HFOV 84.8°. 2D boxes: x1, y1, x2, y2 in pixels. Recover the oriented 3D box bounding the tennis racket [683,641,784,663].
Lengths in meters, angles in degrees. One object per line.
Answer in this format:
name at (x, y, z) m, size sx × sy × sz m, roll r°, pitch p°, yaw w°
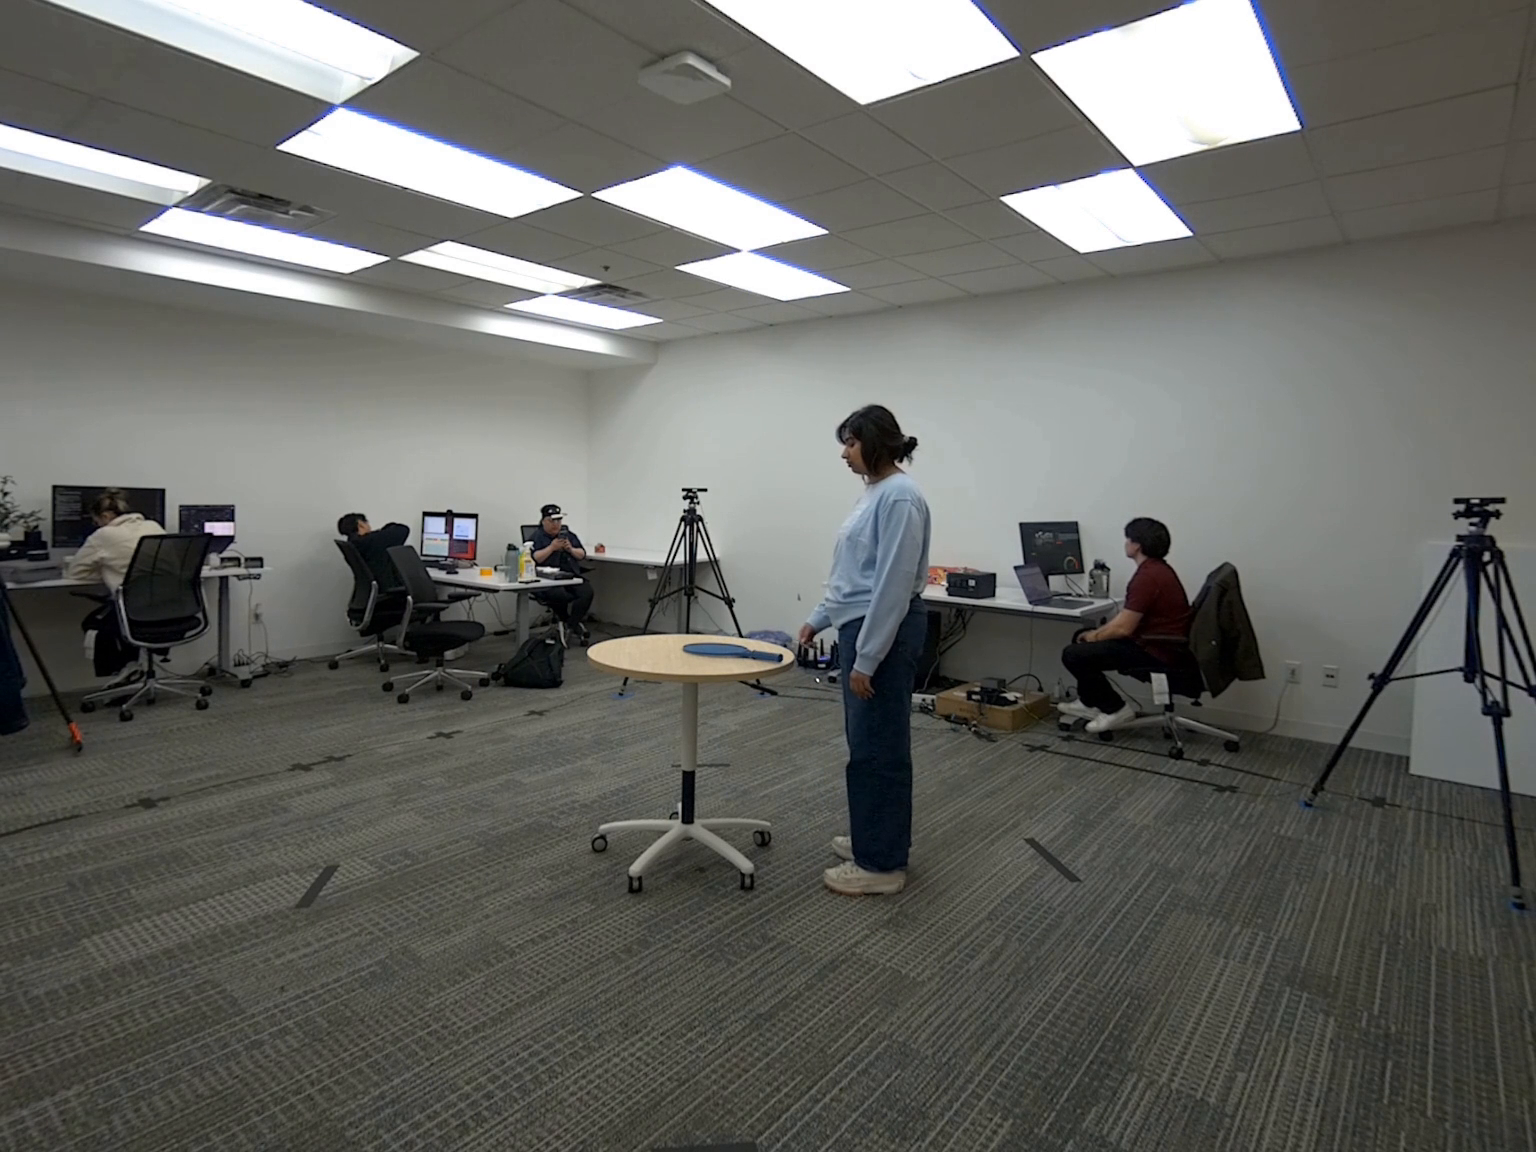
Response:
tennis racket at (-0.131, 0.282, 3.142) m, size 0.447 × 0.031 × 0.208 m, roll 4°, pitch 8°, yaw 39°
